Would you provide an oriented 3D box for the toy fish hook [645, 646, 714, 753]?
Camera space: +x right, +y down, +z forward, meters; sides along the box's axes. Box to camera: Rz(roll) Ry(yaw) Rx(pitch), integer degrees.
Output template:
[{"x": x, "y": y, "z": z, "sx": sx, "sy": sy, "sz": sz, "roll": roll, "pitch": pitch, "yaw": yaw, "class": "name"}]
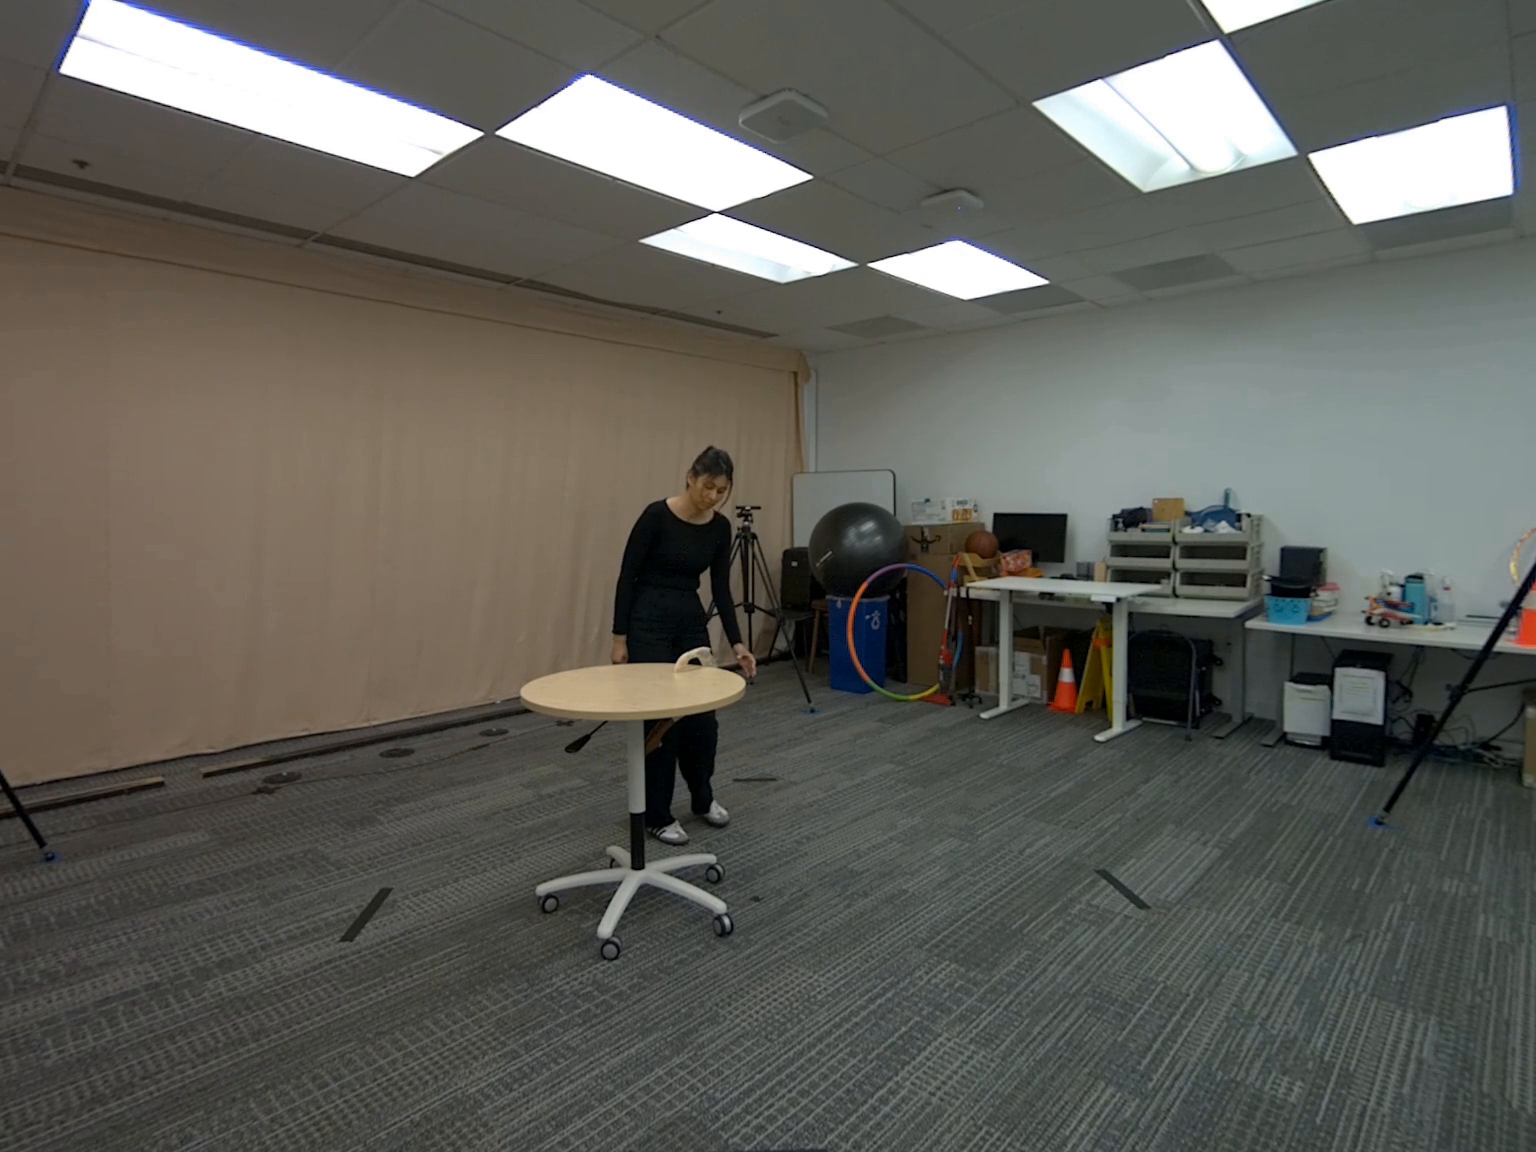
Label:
[{"x": -0.344, "y": 0.453, "z": 3.081, "sx": 0.050, "sy": 0.220, "sz": 0.502, "roll": -1, "pitch": 32, "yaw": 38, "class": "toy fish hook"}]
